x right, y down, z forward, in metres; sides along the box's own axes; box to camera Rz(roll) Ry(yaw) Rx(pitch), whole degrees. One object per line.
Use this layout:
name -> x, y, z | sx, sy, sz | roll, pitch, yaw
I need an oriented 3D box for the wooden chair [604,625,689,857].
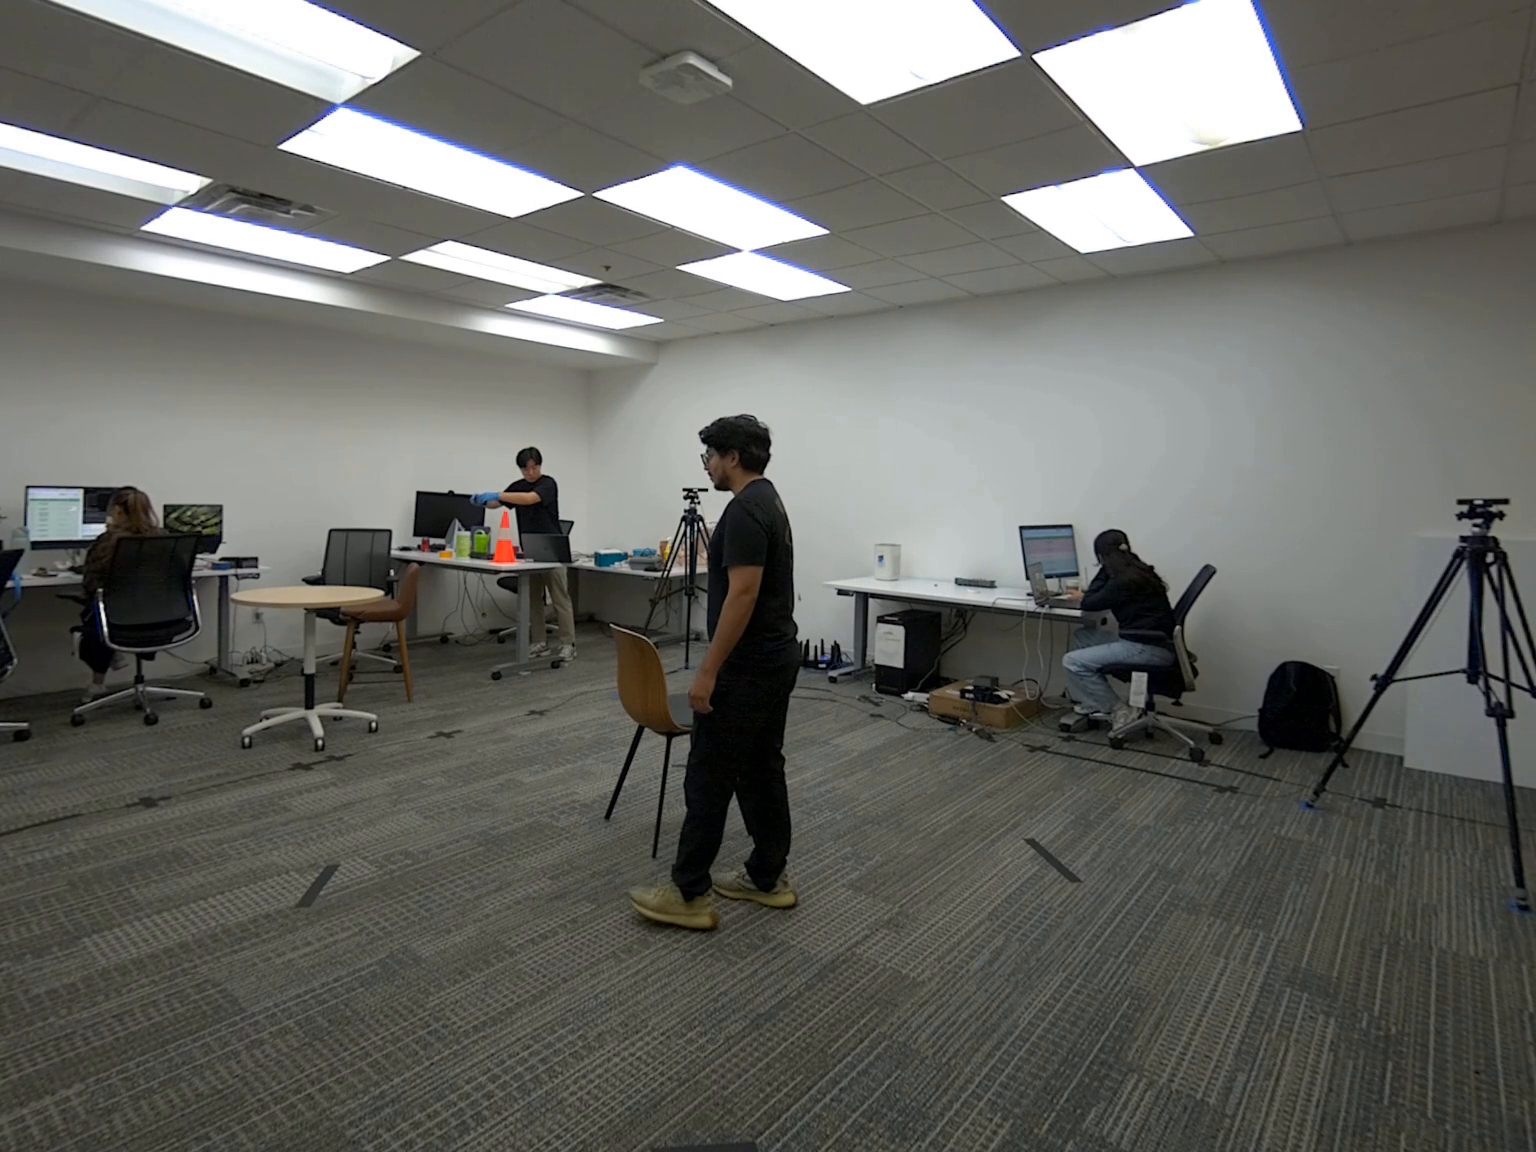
wooden chair -> -0.373, 0.606, 3.477 | 0.509, 0.873, 0.493 | -6, 6, -34
